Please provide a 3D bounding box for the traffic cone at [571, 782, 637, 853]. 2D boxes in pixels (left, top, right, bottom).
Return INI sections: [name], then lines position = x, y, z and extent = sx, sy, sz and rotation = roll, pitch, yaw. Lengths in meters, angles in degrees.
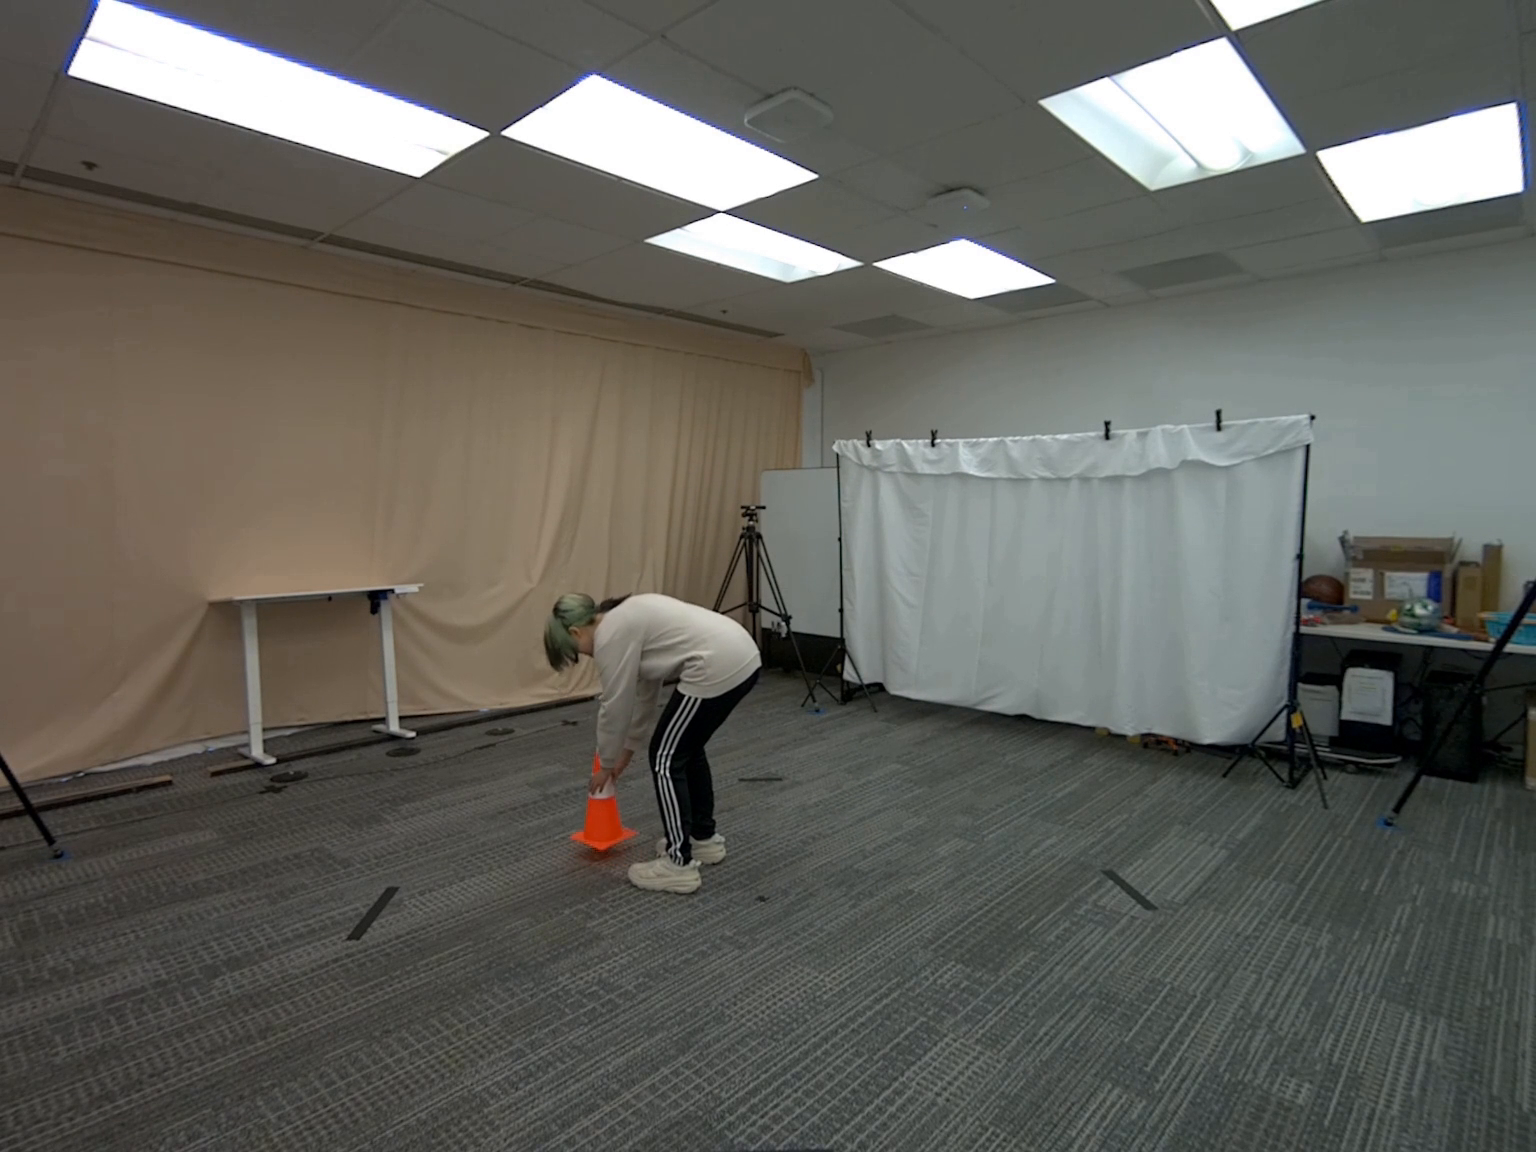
[traffic cone]
position = -0.661, 0.845, 3.361
extent = 0.210, 0.383, 0.199
rotation = 4, 5, 41
